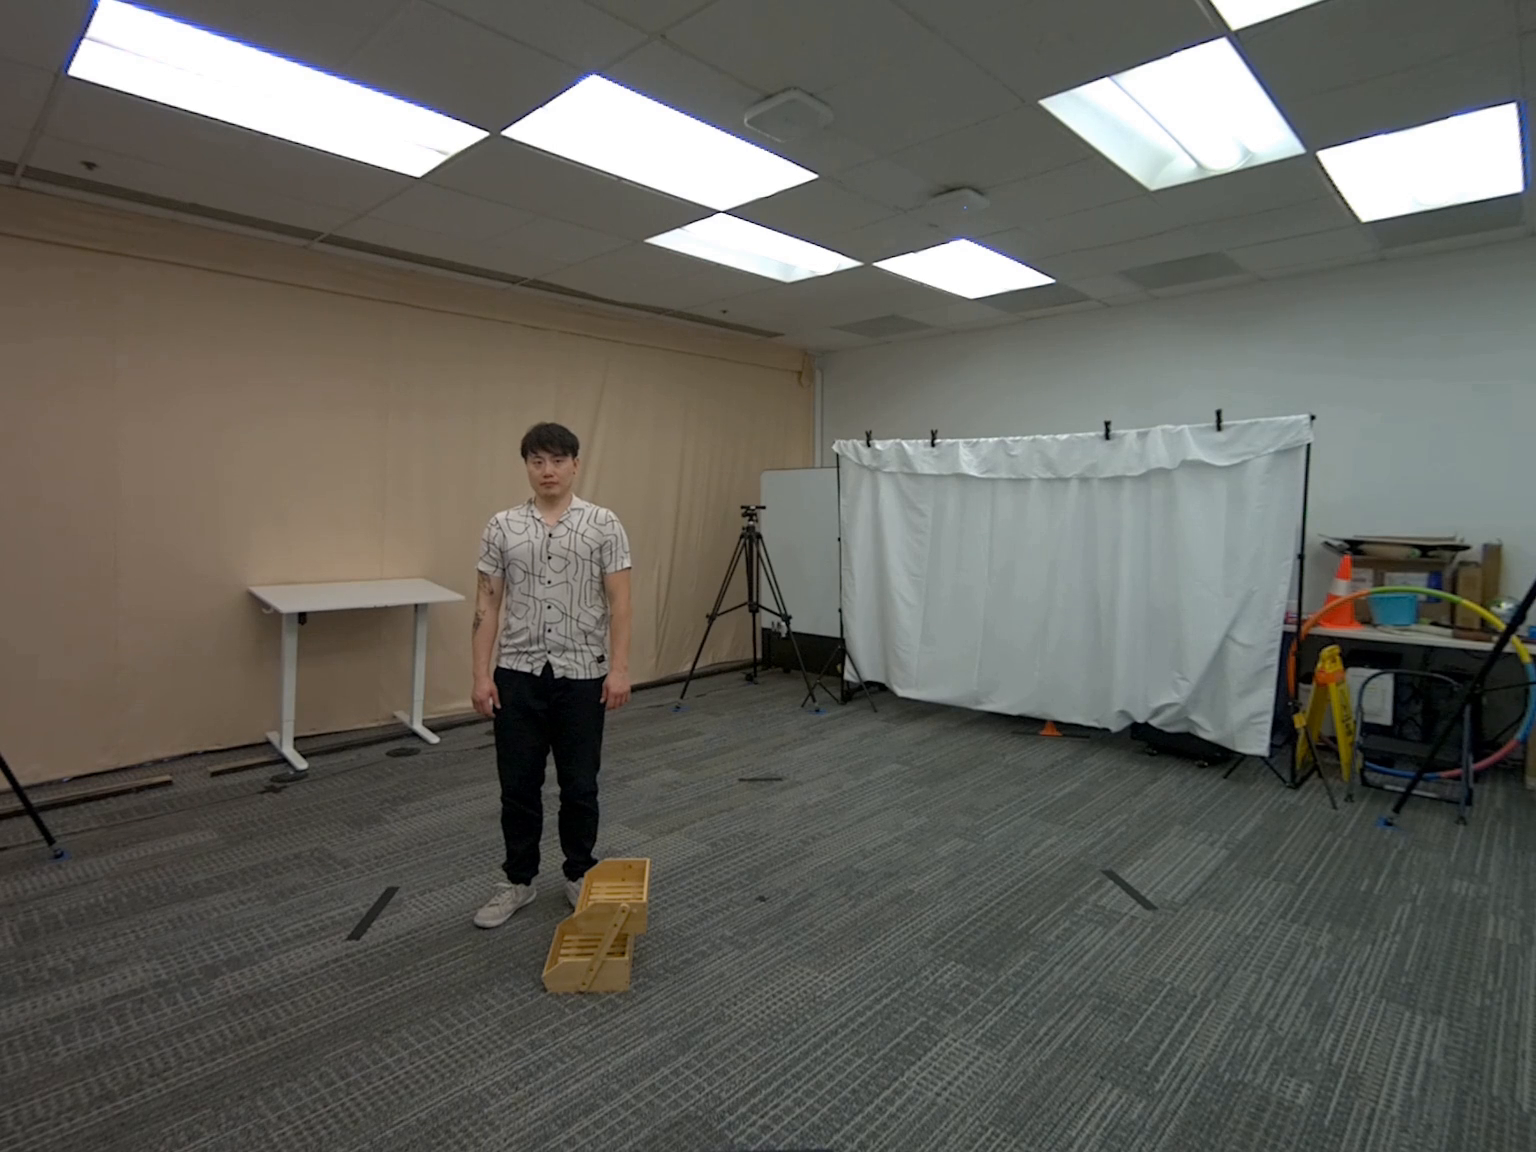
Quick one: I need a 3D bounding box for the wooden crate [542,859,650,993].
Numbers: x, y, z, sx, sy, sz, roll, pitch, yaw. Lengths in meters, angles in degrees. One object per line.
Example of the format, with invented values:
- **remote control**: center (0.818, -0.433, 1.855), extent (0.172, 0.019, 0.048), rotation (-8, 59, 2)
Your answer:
- **wooden crate**: center (-0.519, 1.051, 2.557), extent (0.300, 0.273, 0.327), rotation (-1, 4, -5)
